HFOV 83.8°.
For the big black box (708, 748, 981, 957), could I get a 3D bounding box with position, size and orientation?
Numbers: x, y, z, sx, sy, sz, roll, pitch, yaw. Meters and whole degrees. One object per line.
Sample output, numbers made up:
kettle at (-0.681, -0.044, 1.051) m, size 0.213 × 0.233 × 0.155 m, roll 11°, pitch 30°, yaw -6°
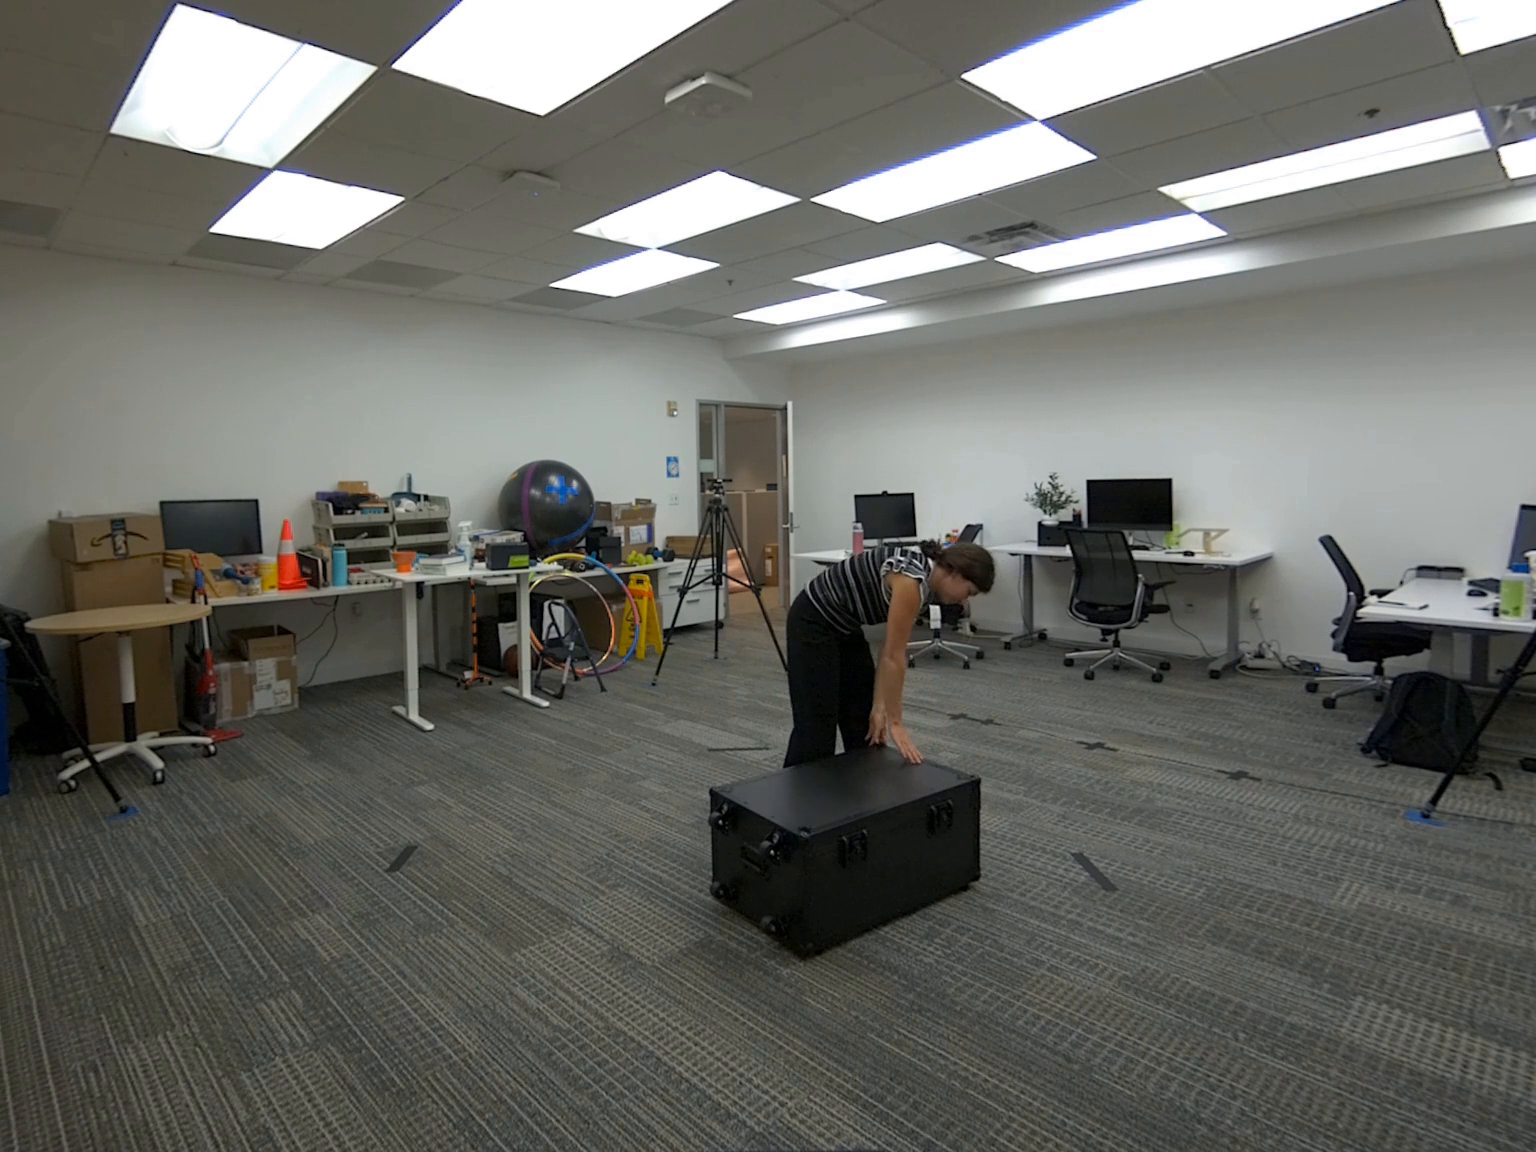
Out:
big black box at (0.237, 0.882, 2.847) m, size 0.839 × 0.395 × 0.537 m, roll -5°, pitch 6°, yaw -37°
